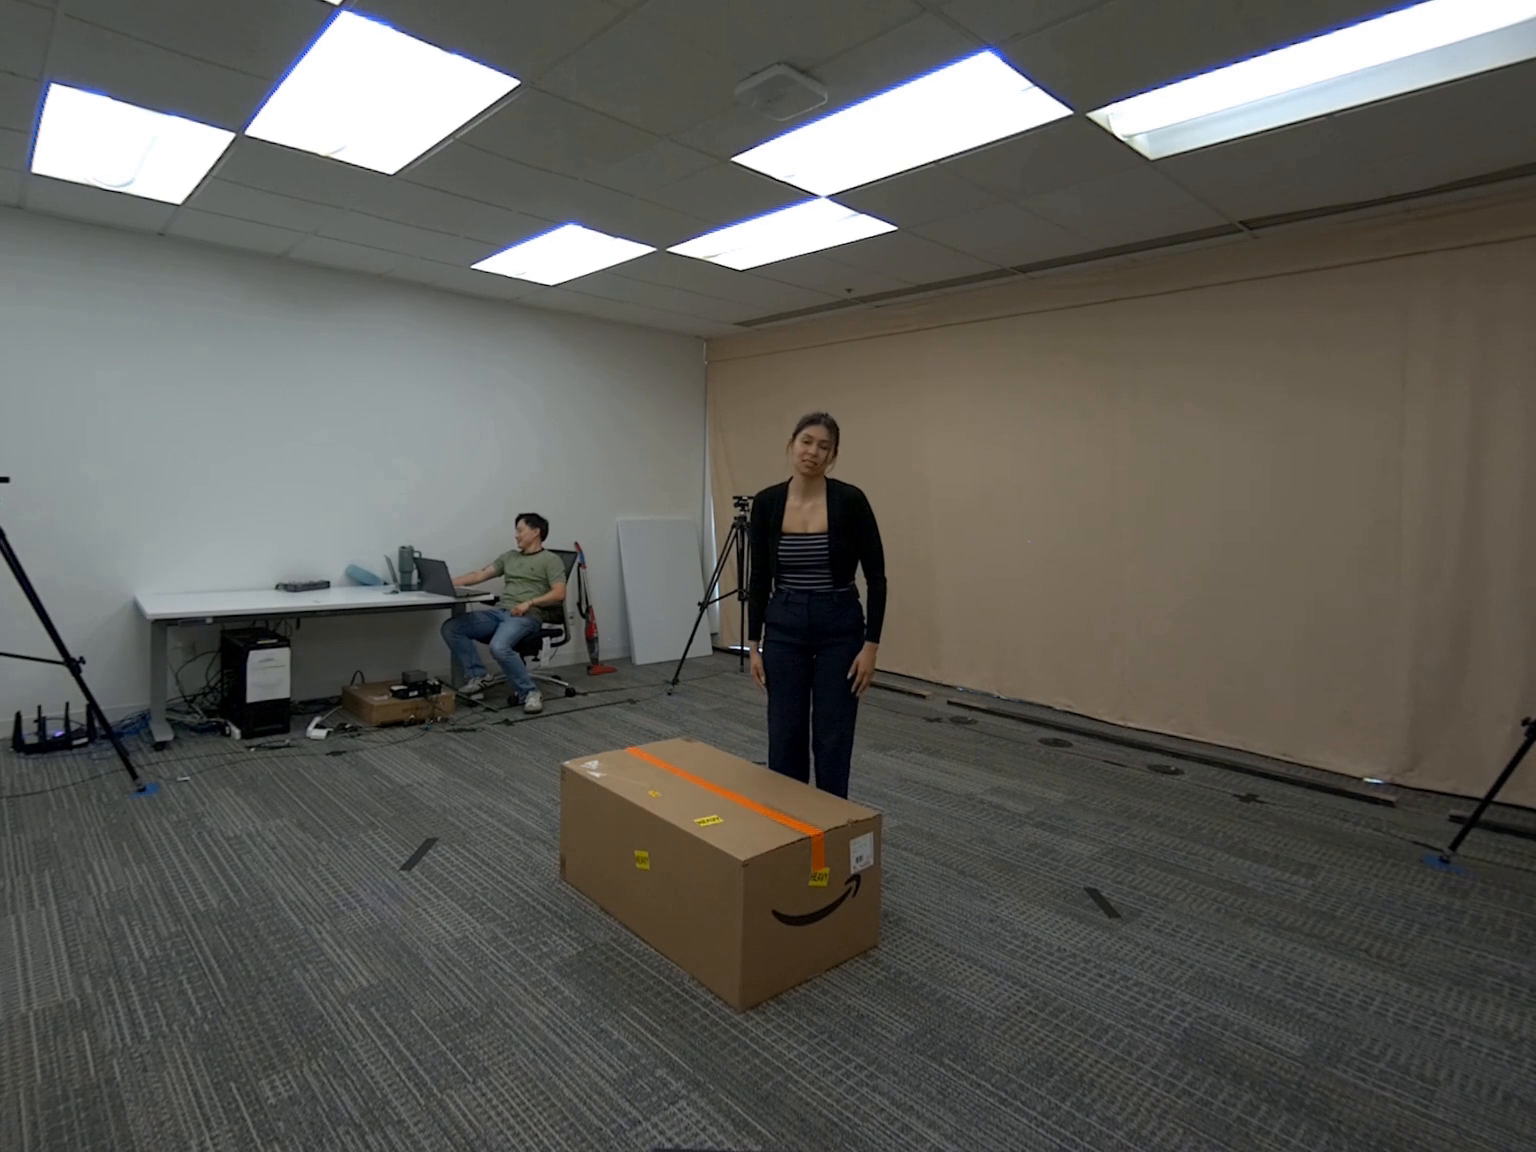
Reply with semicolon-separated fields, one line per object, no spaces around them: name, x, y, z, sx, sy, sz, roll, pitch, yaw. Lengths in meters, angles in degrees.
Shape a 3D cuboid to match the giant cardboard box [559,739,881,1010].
giant cardboard box;-0.208;0.915;2.825;0.564;0.425;1.052;-2;6;-41
